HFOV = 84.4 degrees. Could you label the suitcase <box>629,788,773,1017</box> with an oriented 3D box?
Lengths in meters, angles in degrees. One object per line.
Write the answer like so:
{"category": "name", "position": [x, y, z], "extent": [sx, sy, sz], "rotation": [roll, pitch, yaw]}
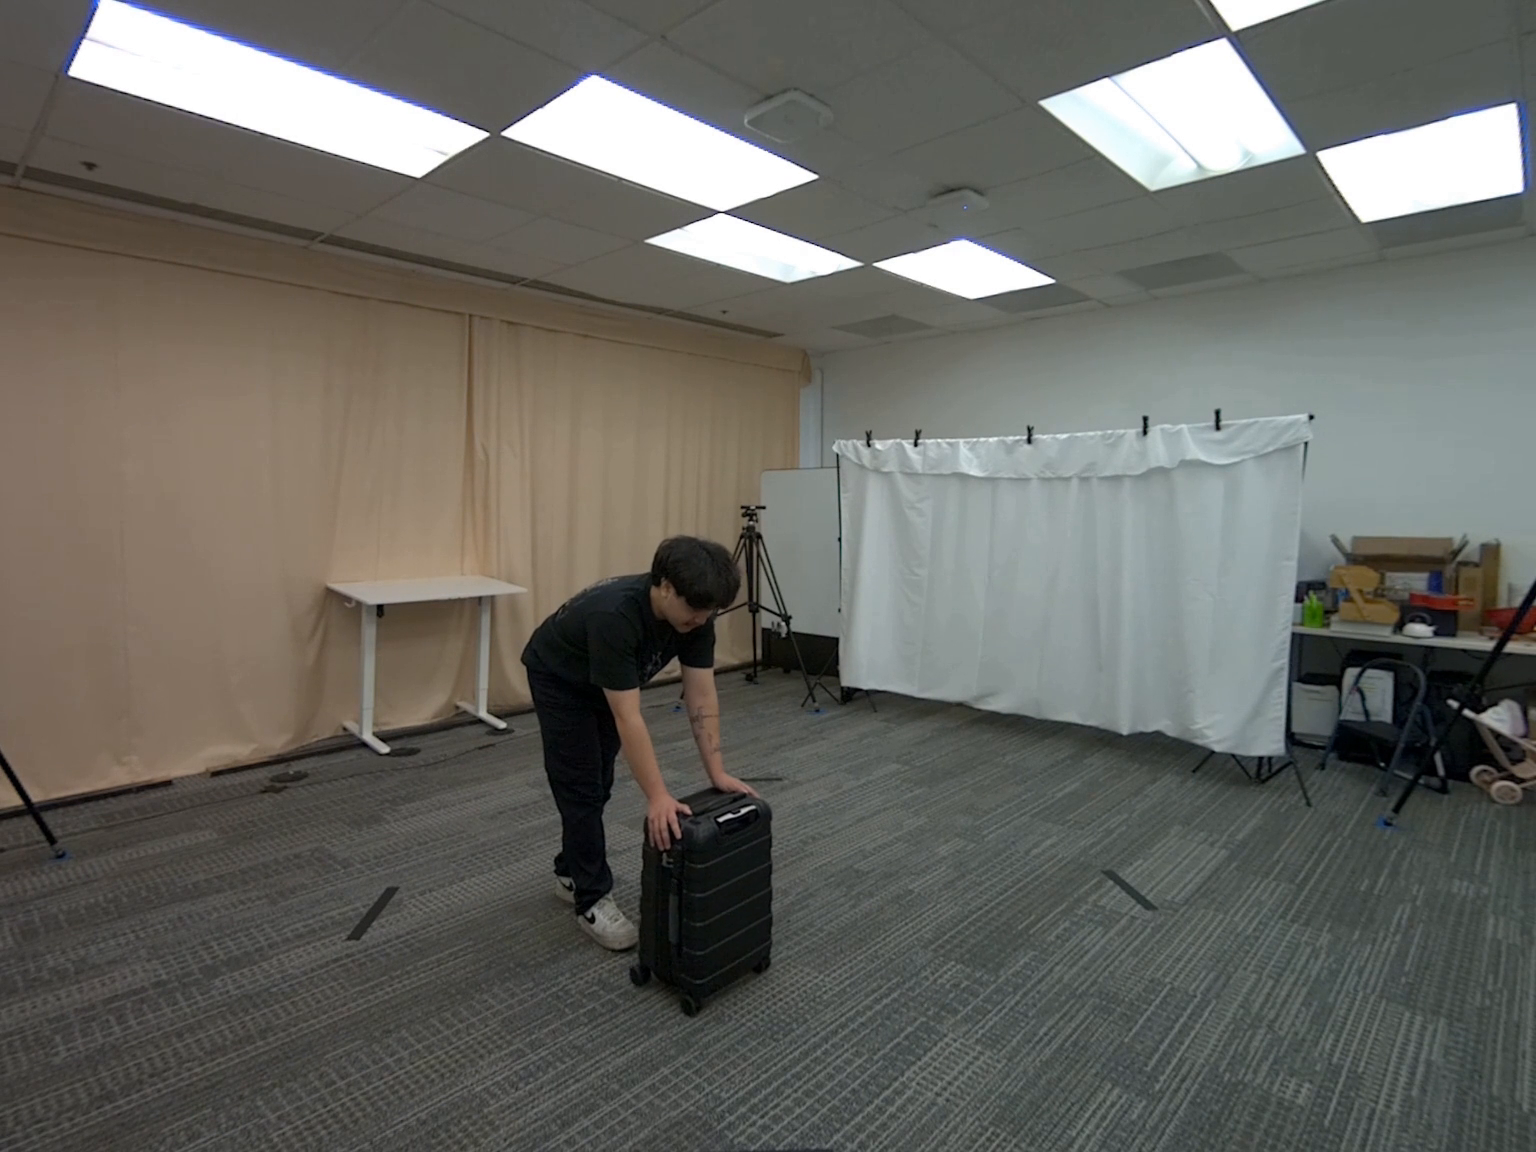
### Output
{"category": "suitcase", "position": [-0.177, 0.919, 2.456], "extent": [0.257, 0.548, 0.364], "rotation": [6, 6, 41]}
